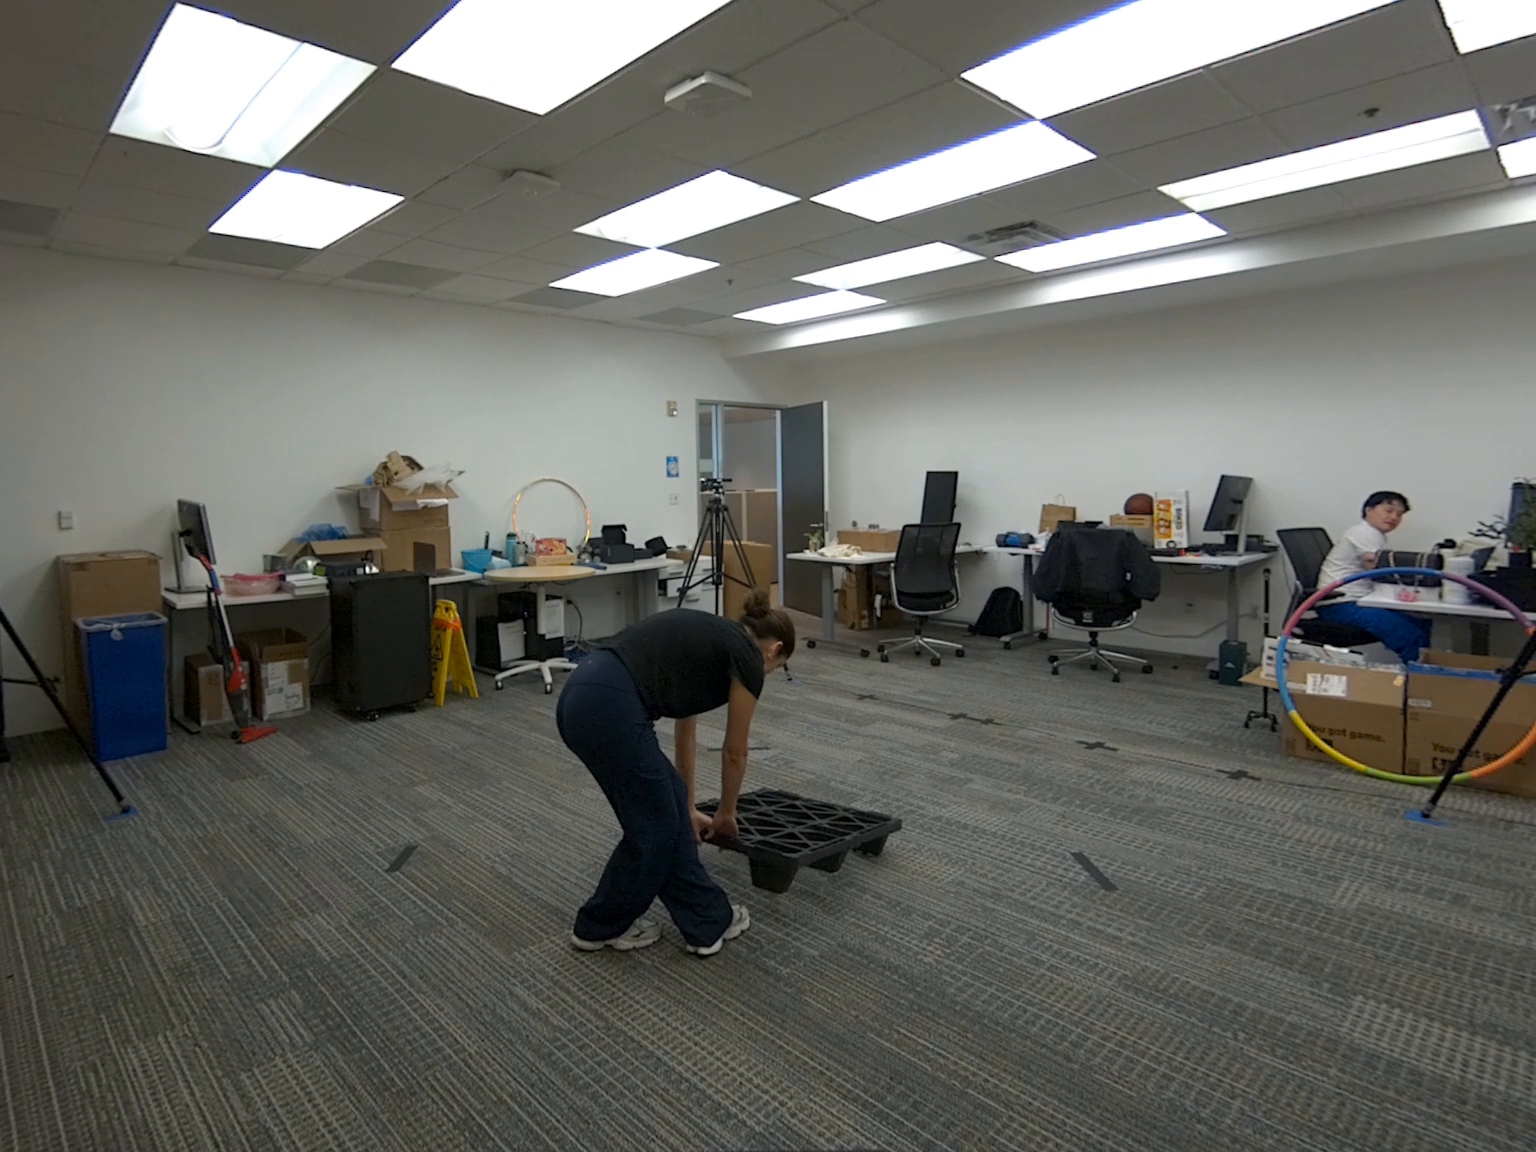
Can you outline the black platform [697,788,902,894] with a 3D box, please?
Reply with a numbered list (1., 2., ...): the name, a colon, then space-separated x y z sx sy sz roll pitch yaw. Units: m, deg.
1. black platform: 0.031 0.914 3.032 0.622 0.144 0.780 3 -4 33
